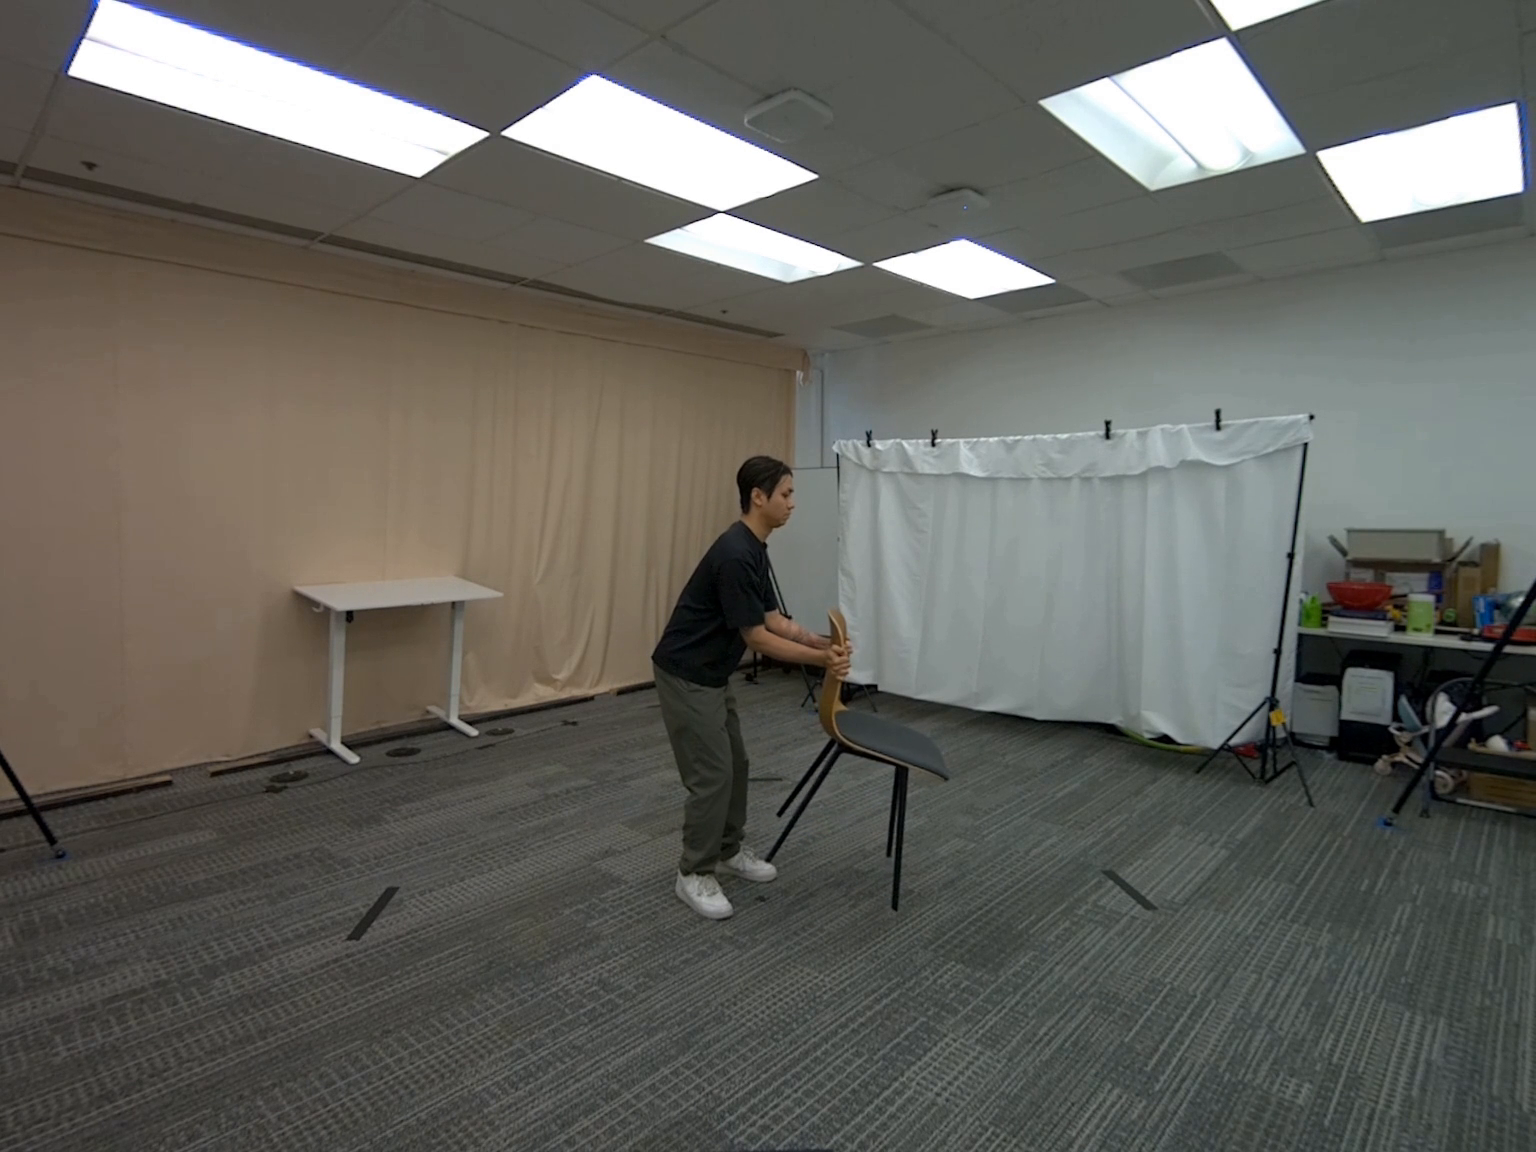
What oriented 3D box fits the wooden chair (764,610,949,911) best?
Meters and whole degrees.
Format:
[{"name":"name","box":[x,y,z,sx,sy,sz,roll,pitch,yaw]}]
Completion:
[{"name":"wooden chair","box":[0.371,0.612,2.948,0.528,0.876,0.474,14,4,7]}]
